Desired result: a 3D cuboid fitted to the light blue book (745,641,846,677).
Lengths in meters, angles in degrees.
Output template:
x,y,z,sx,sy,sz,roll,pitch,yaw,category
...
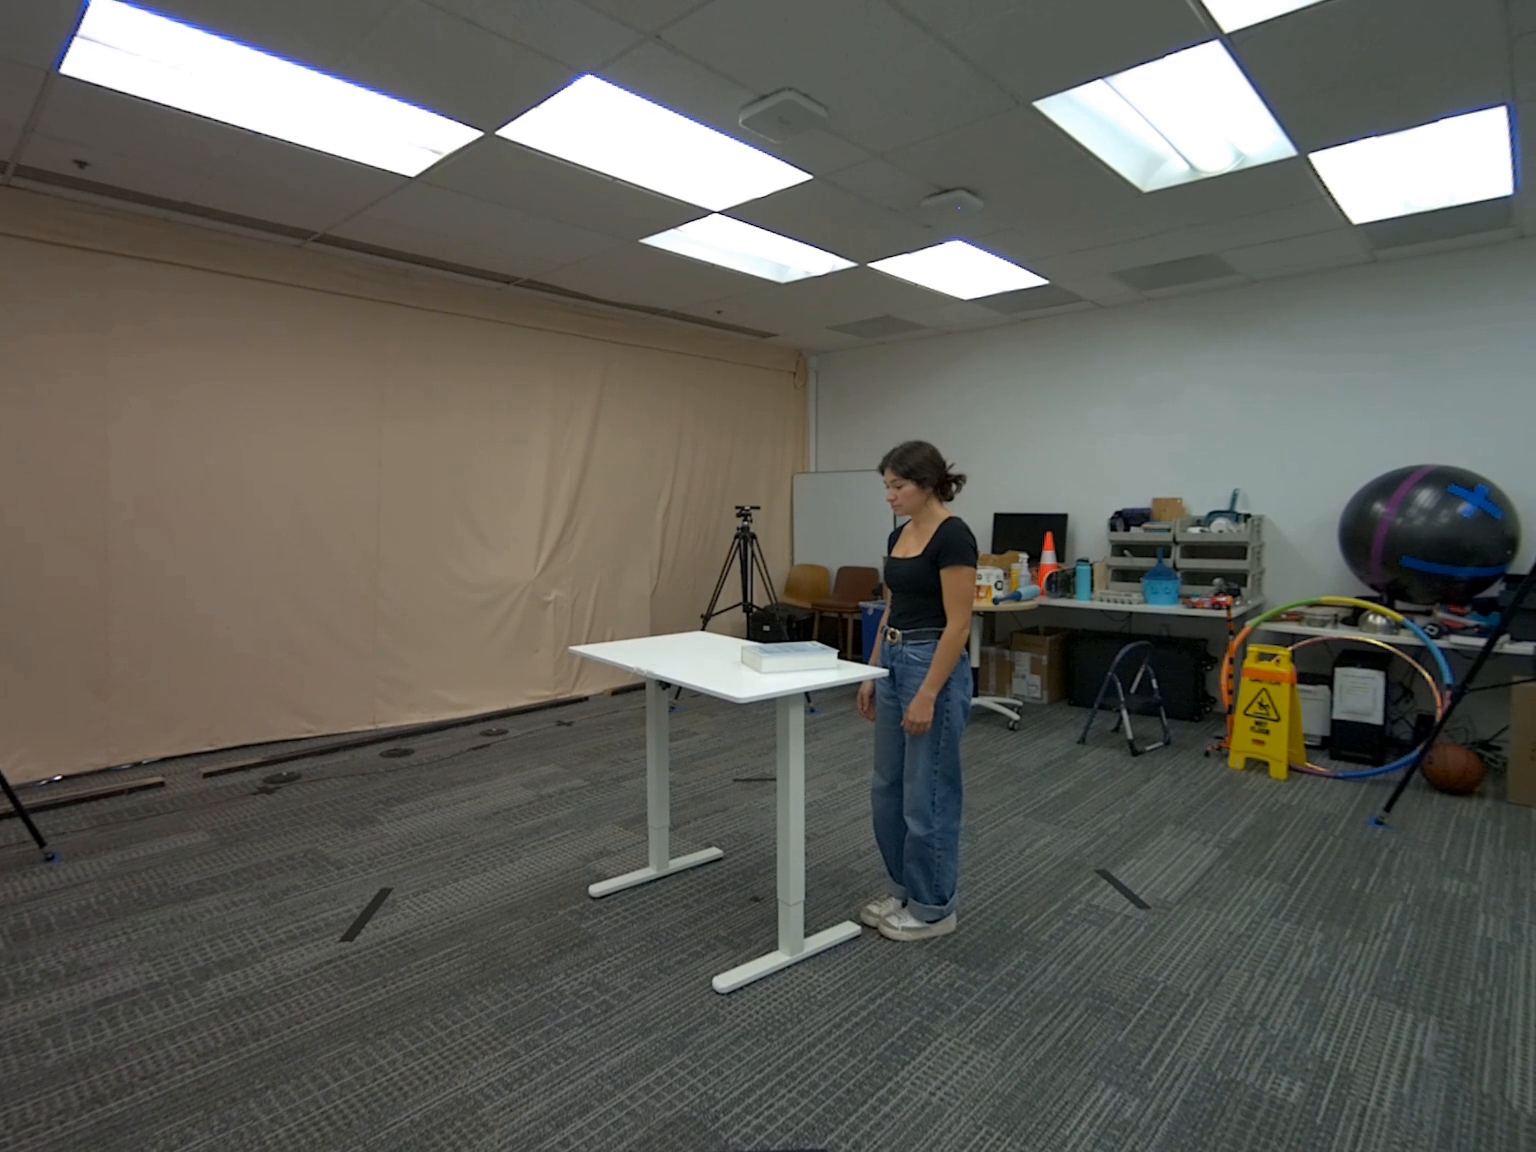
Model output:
x,y,z,sx,sy,sz,roll,pitch,yaw,category
0.084,0.260,2.700,0.256,0.059,0.196,-2,7,-21,light blue book
